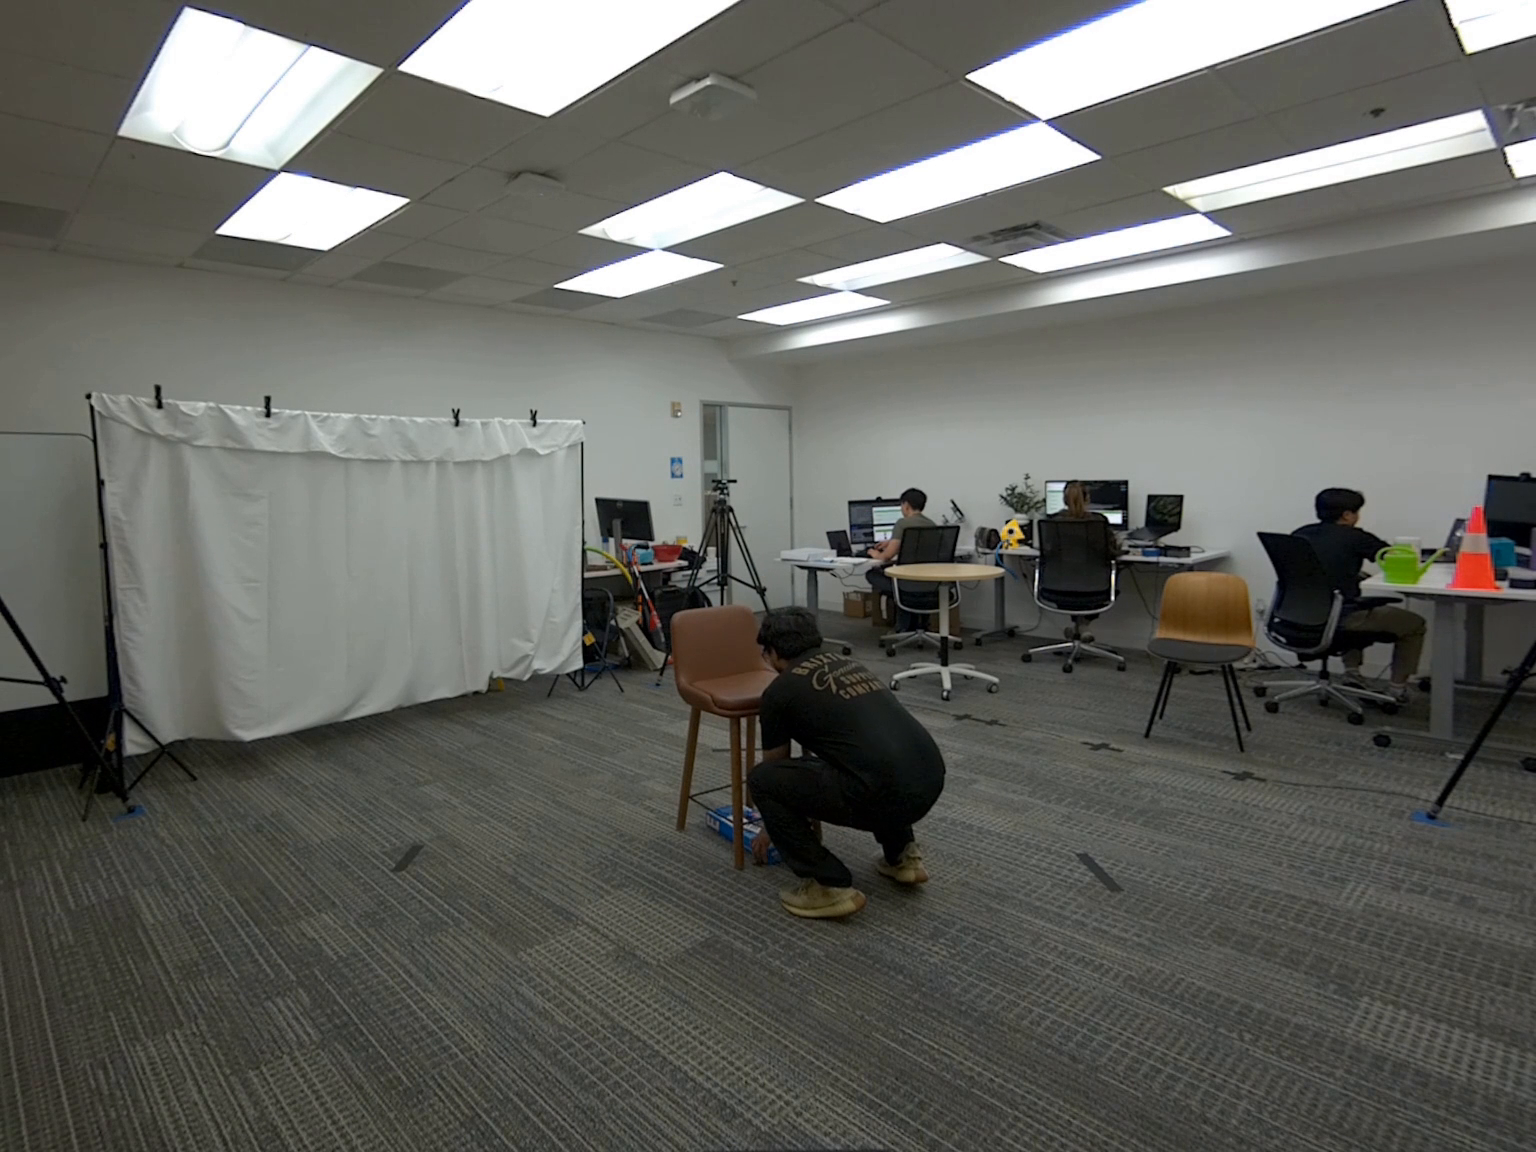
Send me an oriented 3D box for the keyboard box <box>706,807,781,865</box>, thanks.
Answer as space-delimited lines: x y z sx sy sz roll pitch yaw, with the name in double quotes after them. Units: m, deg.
-0.057 0.997 3.327 0.171 0.059 0.450 -4 7 -34 "keyboard box"
